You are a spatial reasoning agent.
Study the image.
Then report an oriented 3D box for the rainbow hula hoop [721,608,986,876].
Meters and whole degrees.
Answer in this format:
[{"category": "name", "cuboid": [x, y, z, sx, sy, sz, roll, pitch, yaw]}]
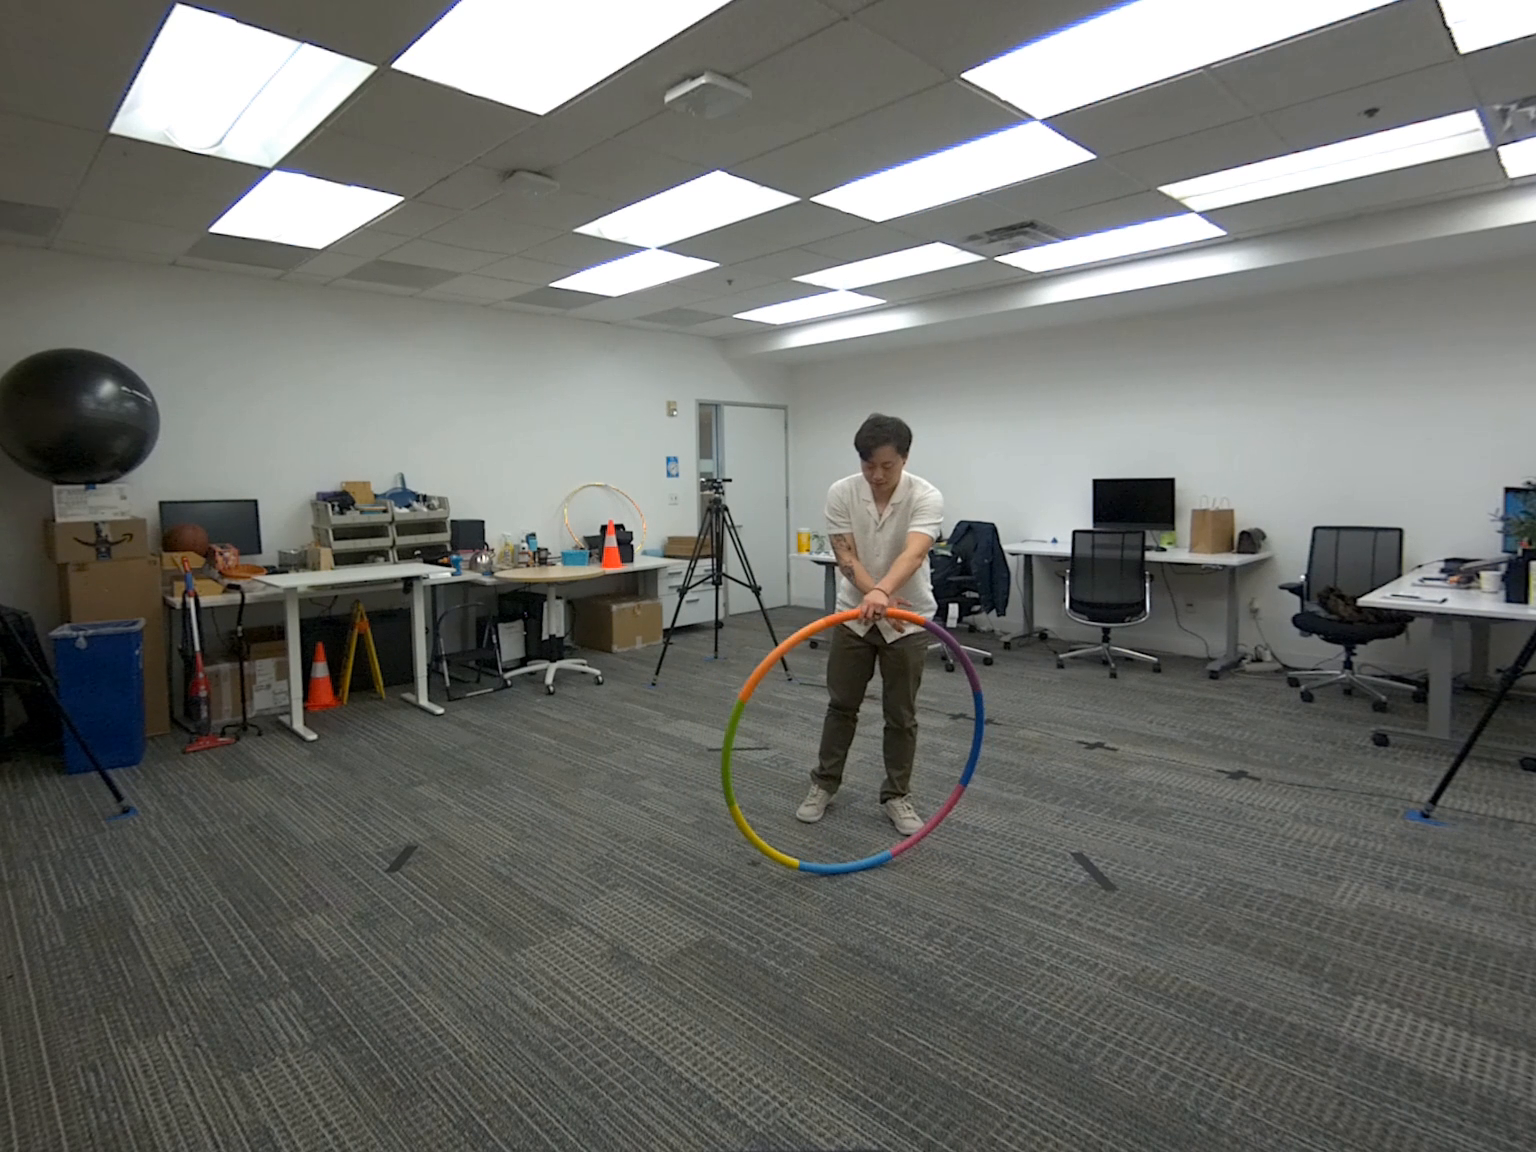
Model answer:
[{"category": "rainbow hula hoop", "cuboid": [0.314, 0.580, 2.933, 0.964, 0.967, 0.036, -2, 14, -17]}]
